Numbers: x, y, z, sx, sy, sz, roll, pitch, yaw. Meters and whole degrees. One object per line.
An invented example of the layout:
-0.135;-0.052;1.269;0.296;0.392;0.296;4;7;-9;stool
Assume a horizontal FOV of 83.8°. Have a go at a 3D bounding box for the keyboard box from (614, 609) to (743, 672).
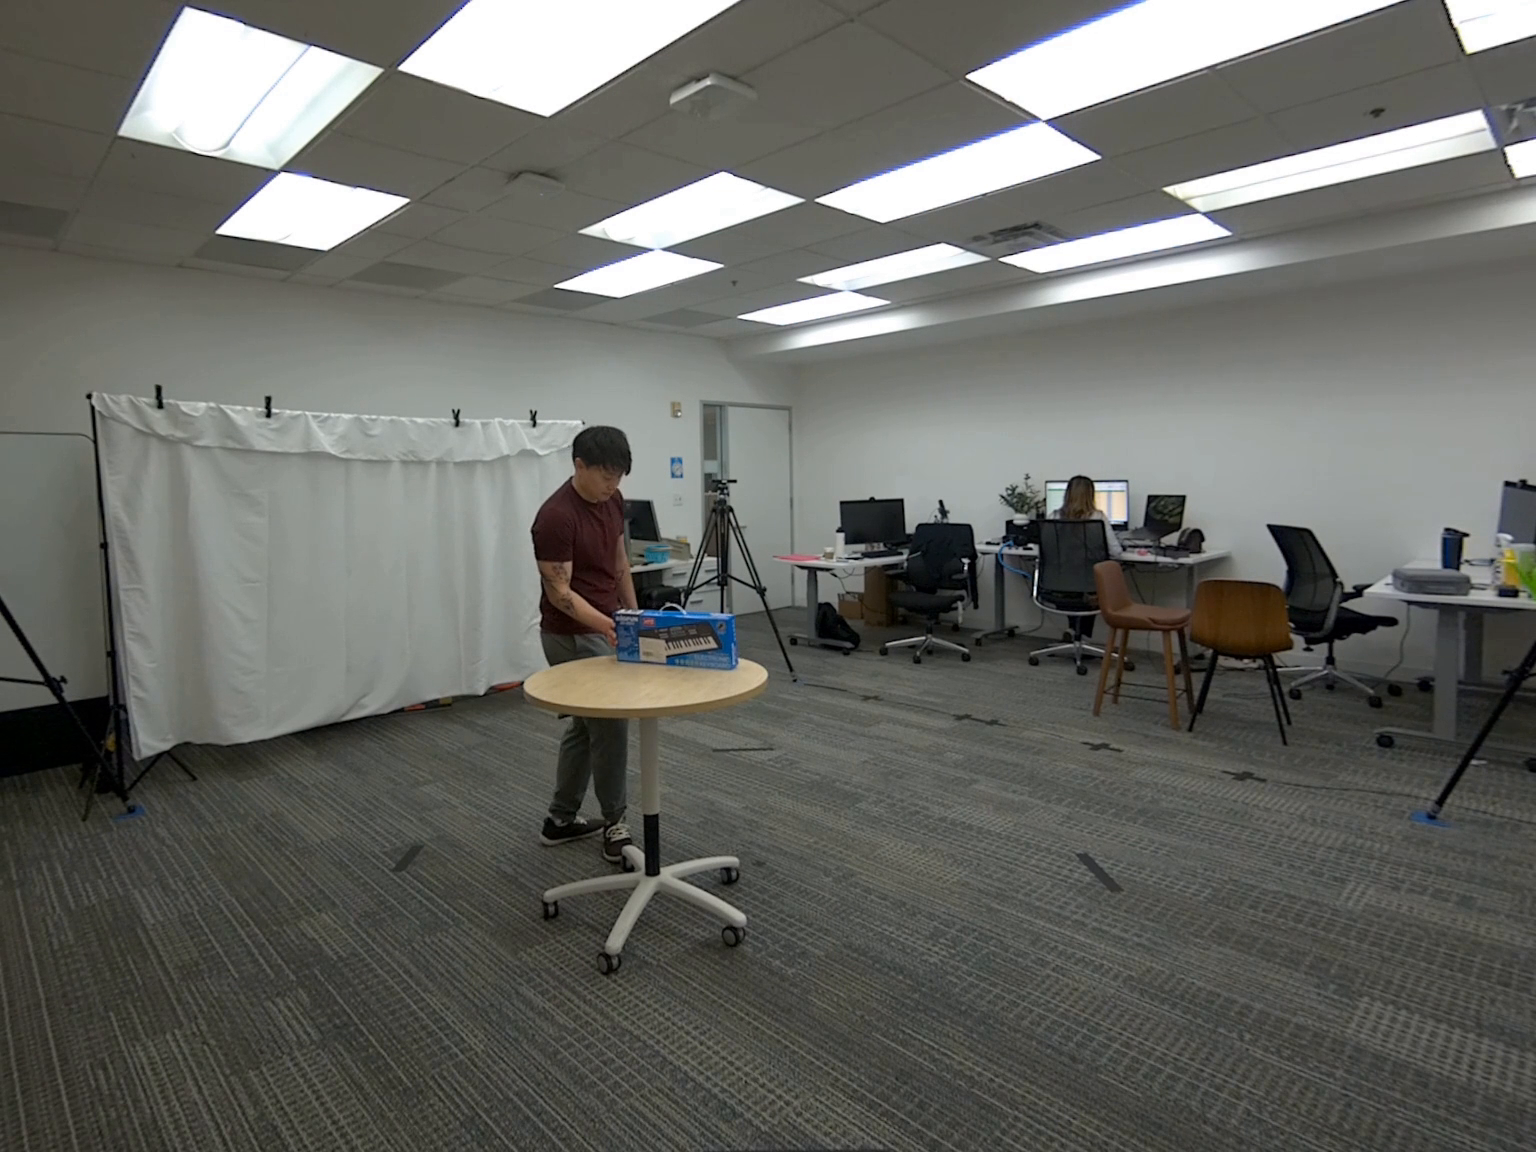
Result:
-0.305;0.211;2.862;0.447;0.174;0.058;1;10;25;keyboard box
